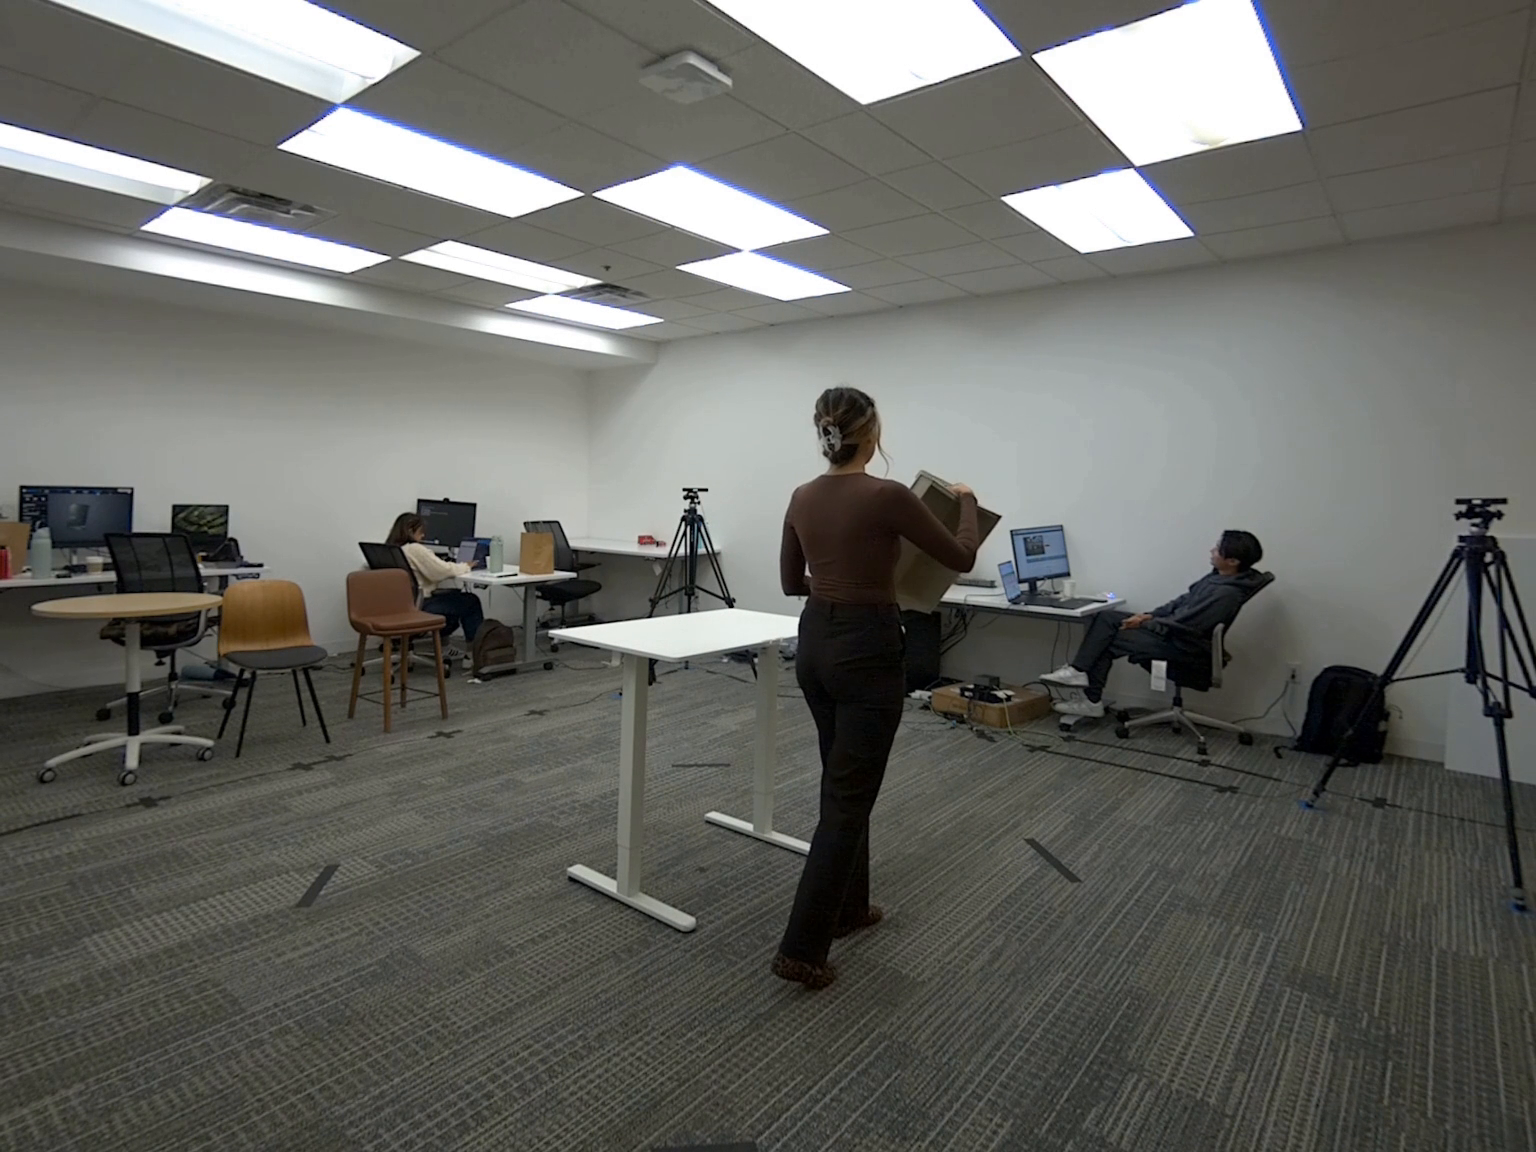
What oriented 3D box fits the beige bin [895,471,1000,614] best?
[{"bbox_3d":[0.509,-0.107,2.866,0.363,0.421,0.197,14,25,-51],"label":"beige bin"}]
